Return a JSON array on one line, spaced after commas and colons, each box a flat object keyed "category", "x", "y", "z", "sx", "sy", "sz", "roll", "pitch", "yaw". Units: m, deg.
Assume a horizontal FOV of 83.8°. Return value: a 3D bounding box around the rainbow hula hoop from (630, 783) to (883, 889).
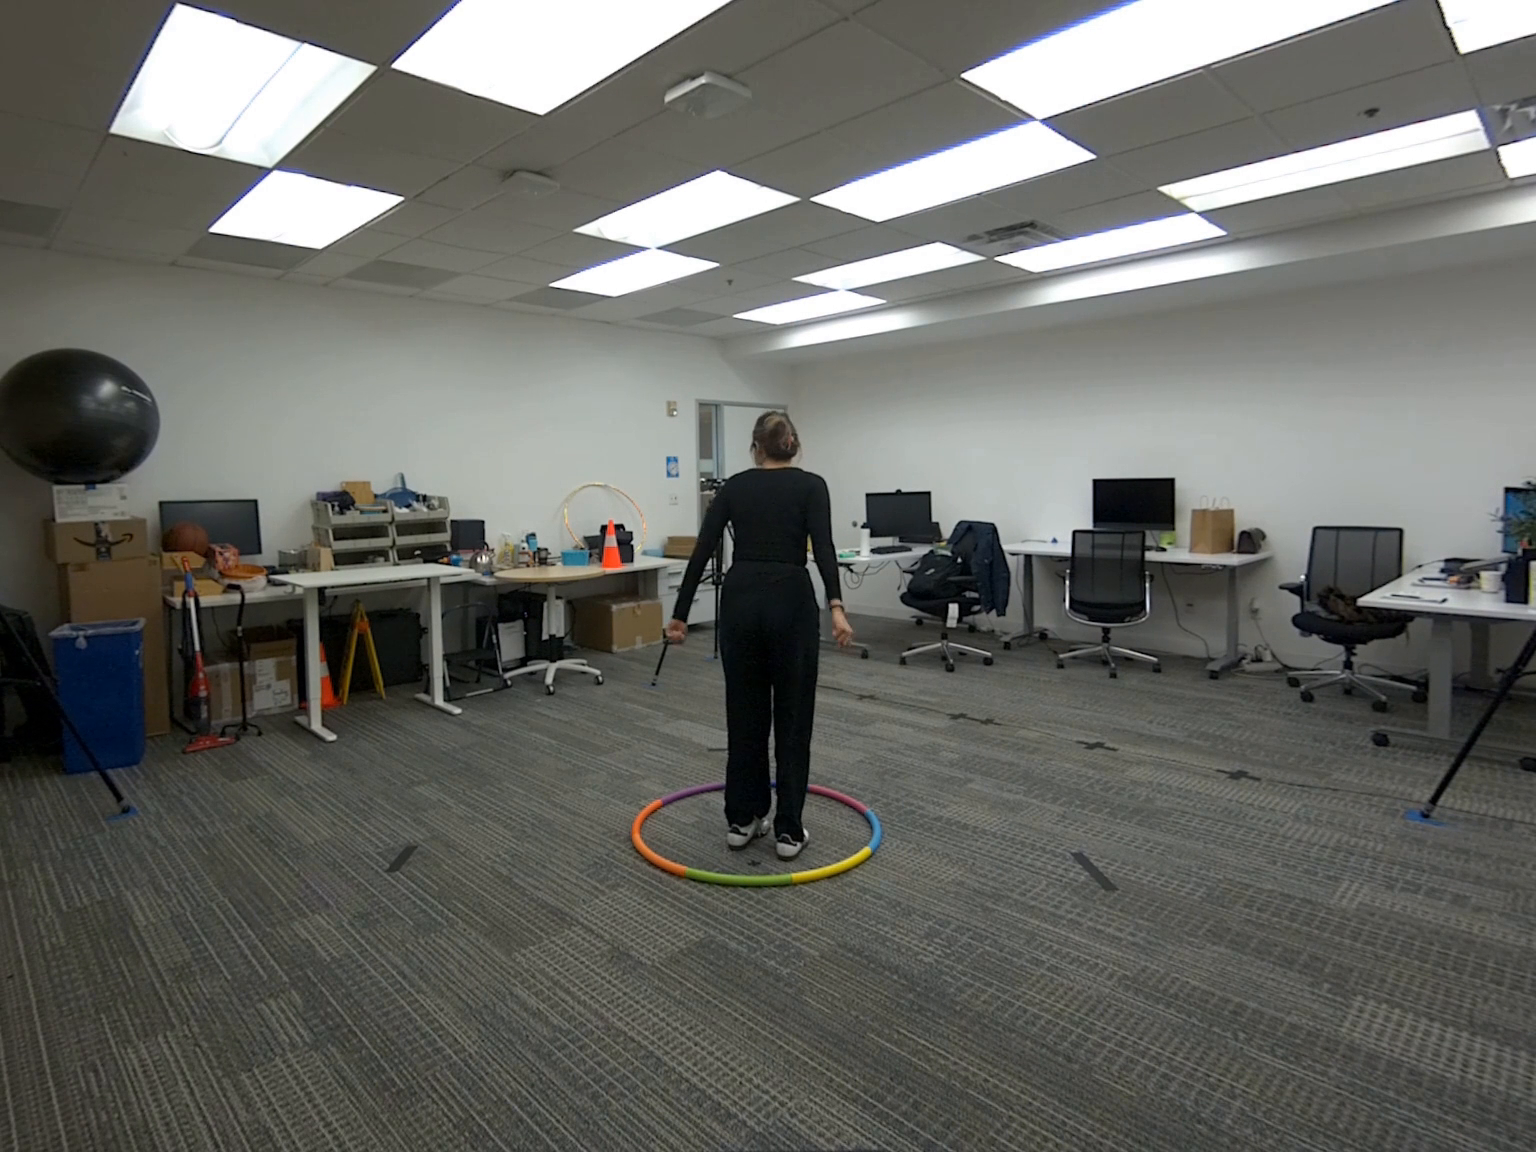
[{"category": "rainbow hula hoop", "x": -0.046, "y": 0.983, "z": 3.401, "sx": 0.978, "sy": 0.035, "sz": 0.984, "roll": -1, "pitch": 7, "yaw": -2}]
